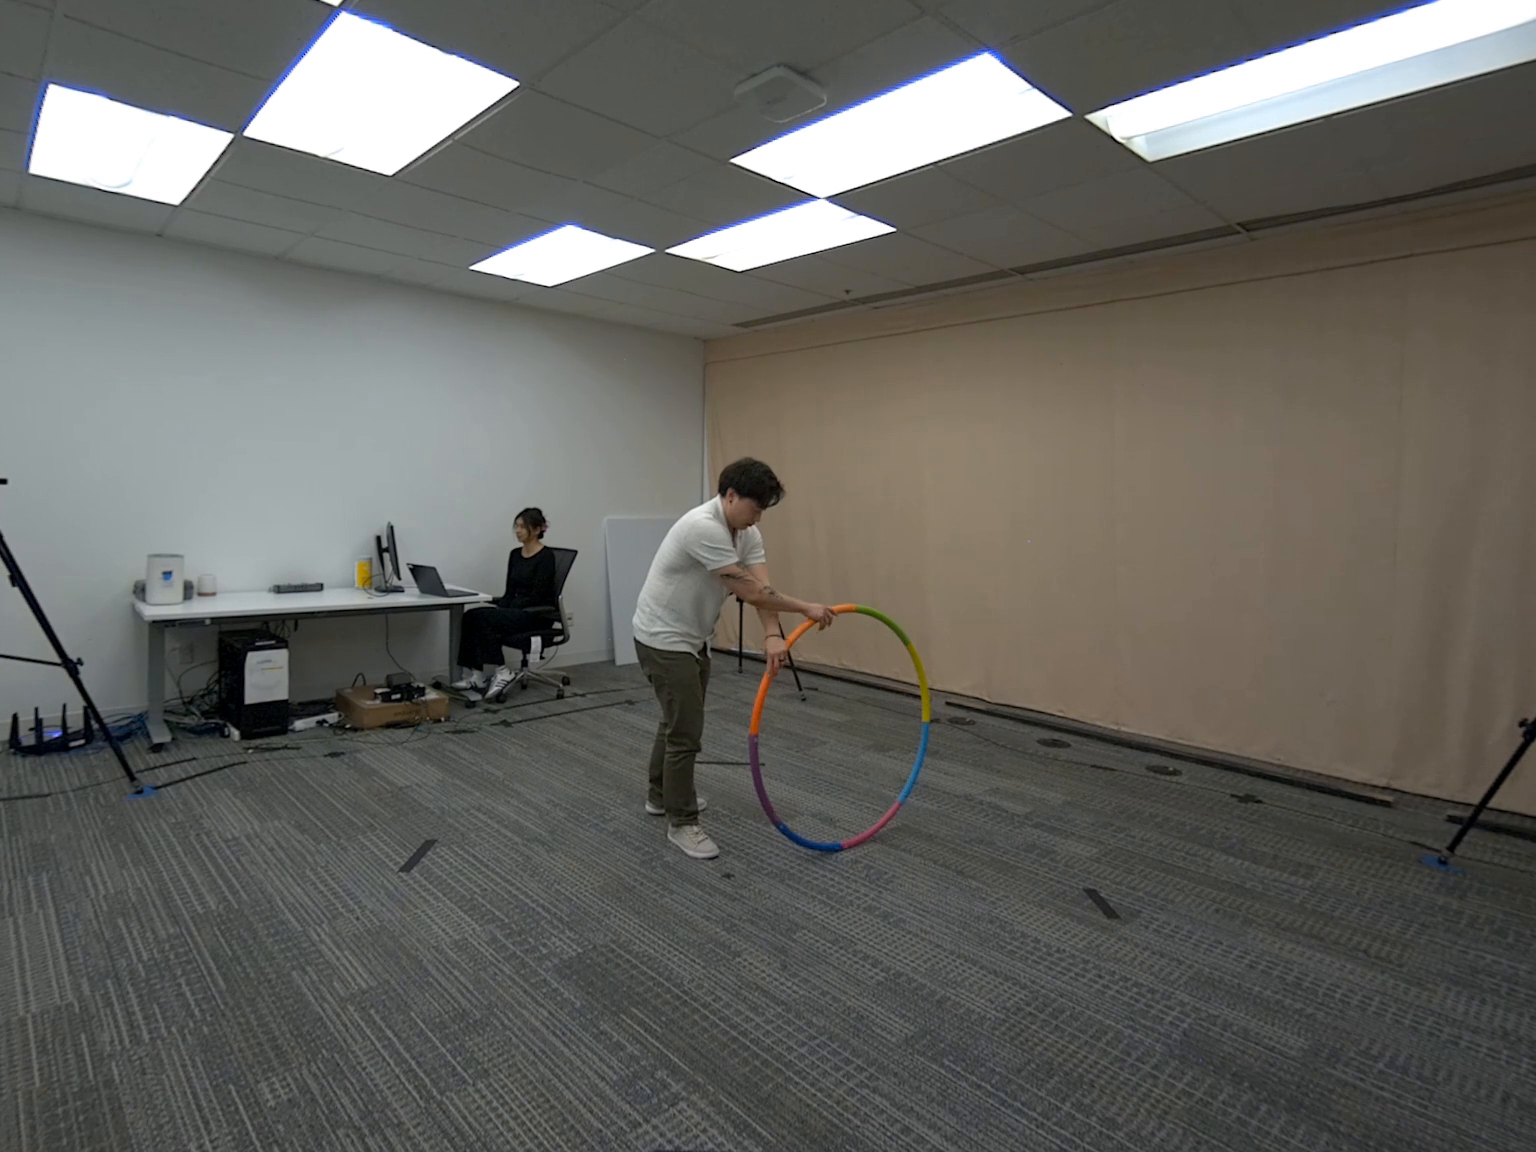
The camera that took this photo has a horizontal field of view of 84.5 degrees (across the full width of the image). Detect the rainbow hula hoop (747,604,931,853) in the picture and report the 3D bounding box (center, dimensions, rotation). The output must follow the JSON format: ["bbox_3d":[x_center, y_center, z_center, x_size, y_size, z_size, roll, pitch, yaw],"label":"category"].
[{"bbox_3d":[0.307,0.606,3.377,0.957,0.978,0.036,-2,1,-38],"label":"rainbow hula hoop"}]
